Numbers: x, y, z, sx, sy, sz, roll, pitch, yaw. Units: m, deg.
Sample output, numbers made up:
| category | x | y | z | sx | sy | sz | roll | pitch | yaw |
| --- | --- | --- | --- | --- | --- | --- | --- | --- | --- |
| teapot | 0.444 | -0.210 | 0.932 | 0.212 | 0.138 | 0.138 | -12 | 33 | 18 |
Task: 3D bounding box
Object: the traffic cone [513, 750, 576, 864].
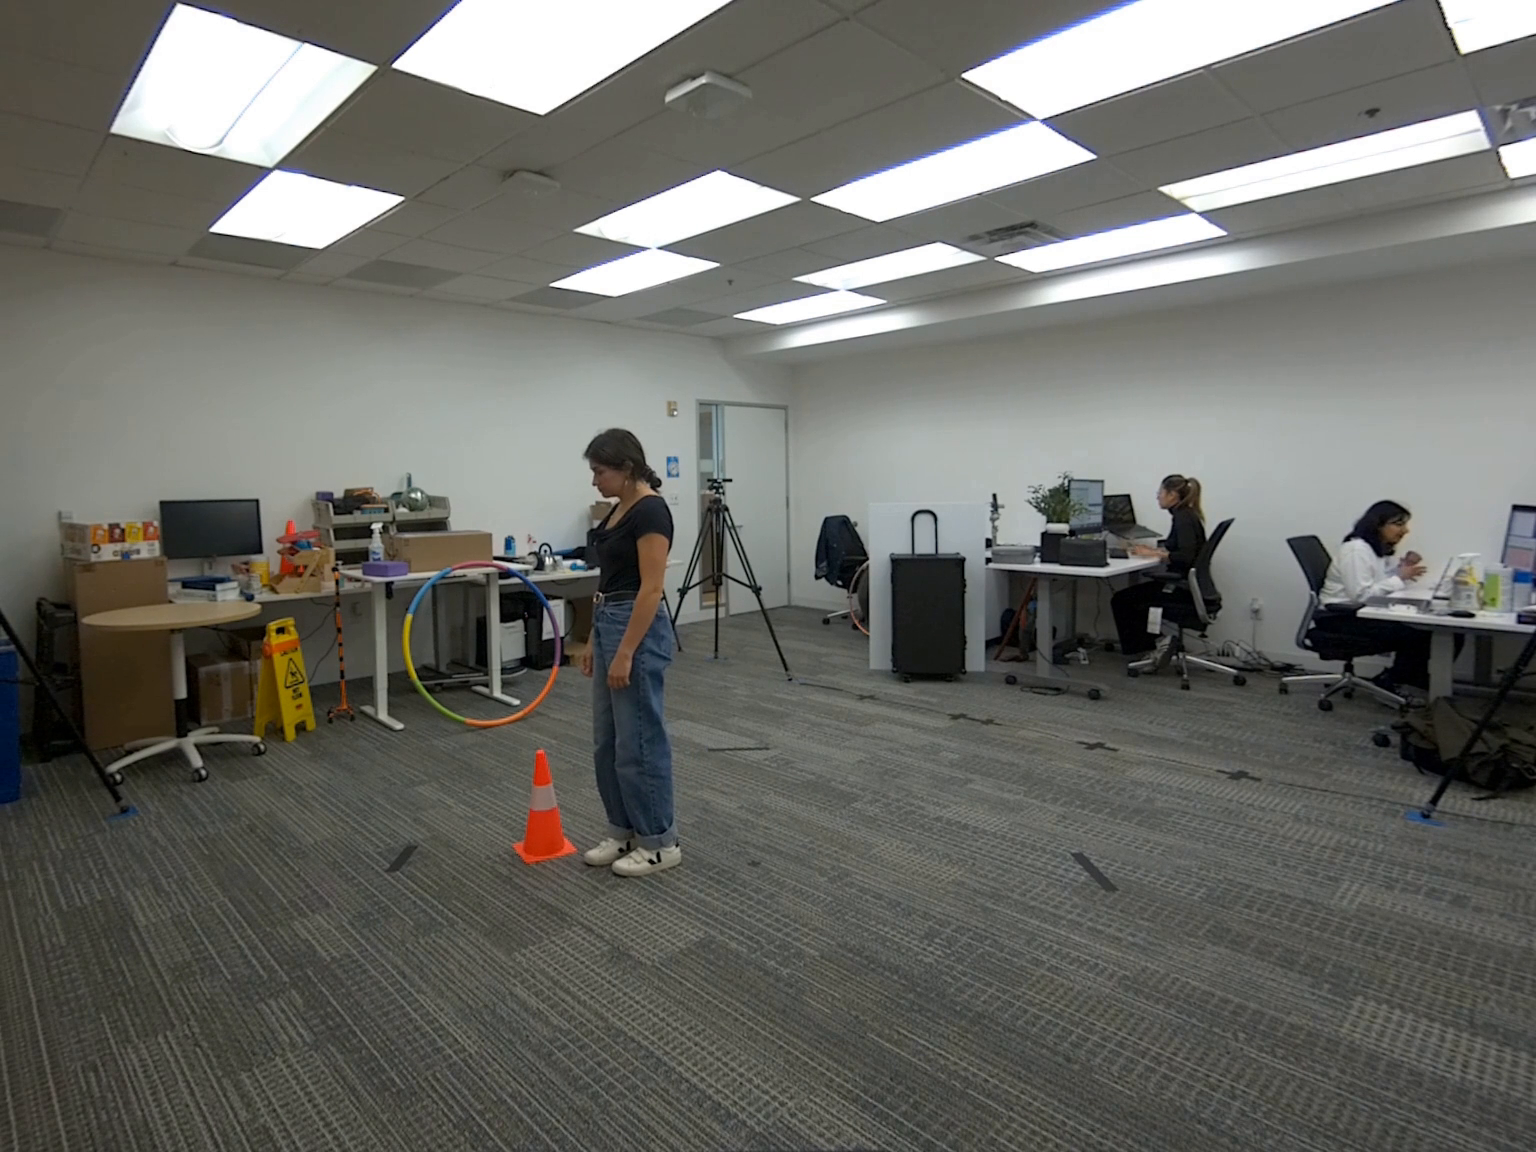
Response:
| category | x | y | z | sx | sy | sz | roll | pitch | yaw |
| --- | --- | --- | --- | --- | --- | --- | --- | --- | --- |
| traffic cone | -0.855 | 0.855 | 3.270 | 0.199 | 0.383 | 0.210 | -2 | 3 | -28 |
